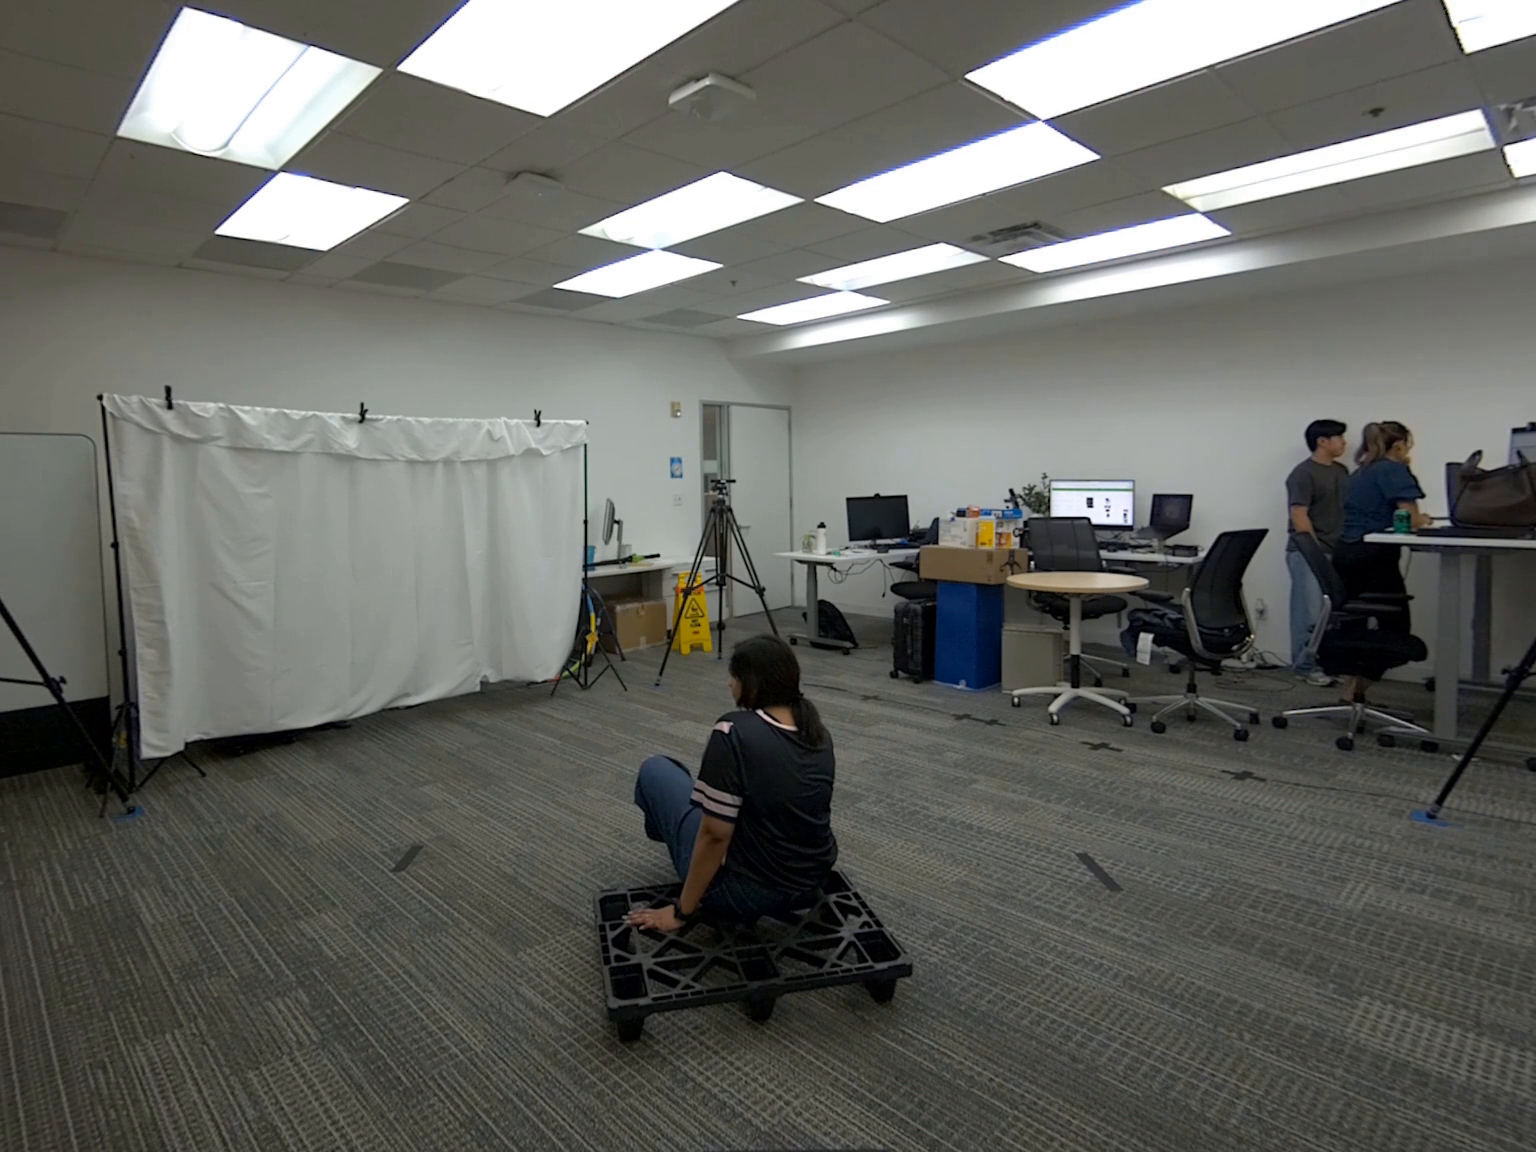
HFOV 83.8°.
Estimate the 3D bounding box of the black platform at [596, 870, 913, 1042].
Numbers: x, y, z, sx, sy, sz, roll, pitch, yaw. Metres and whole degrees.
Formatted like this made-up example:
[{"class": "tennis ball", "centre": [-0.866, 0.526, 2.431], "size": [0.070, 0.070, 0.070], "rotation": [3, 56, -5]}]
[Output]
[{"class": "black platform", "centre": [-0.080, 1.057, 2.434], "size": [0.796, 0.142, 0.615], "rotation": [-2, 7, -12]}]
